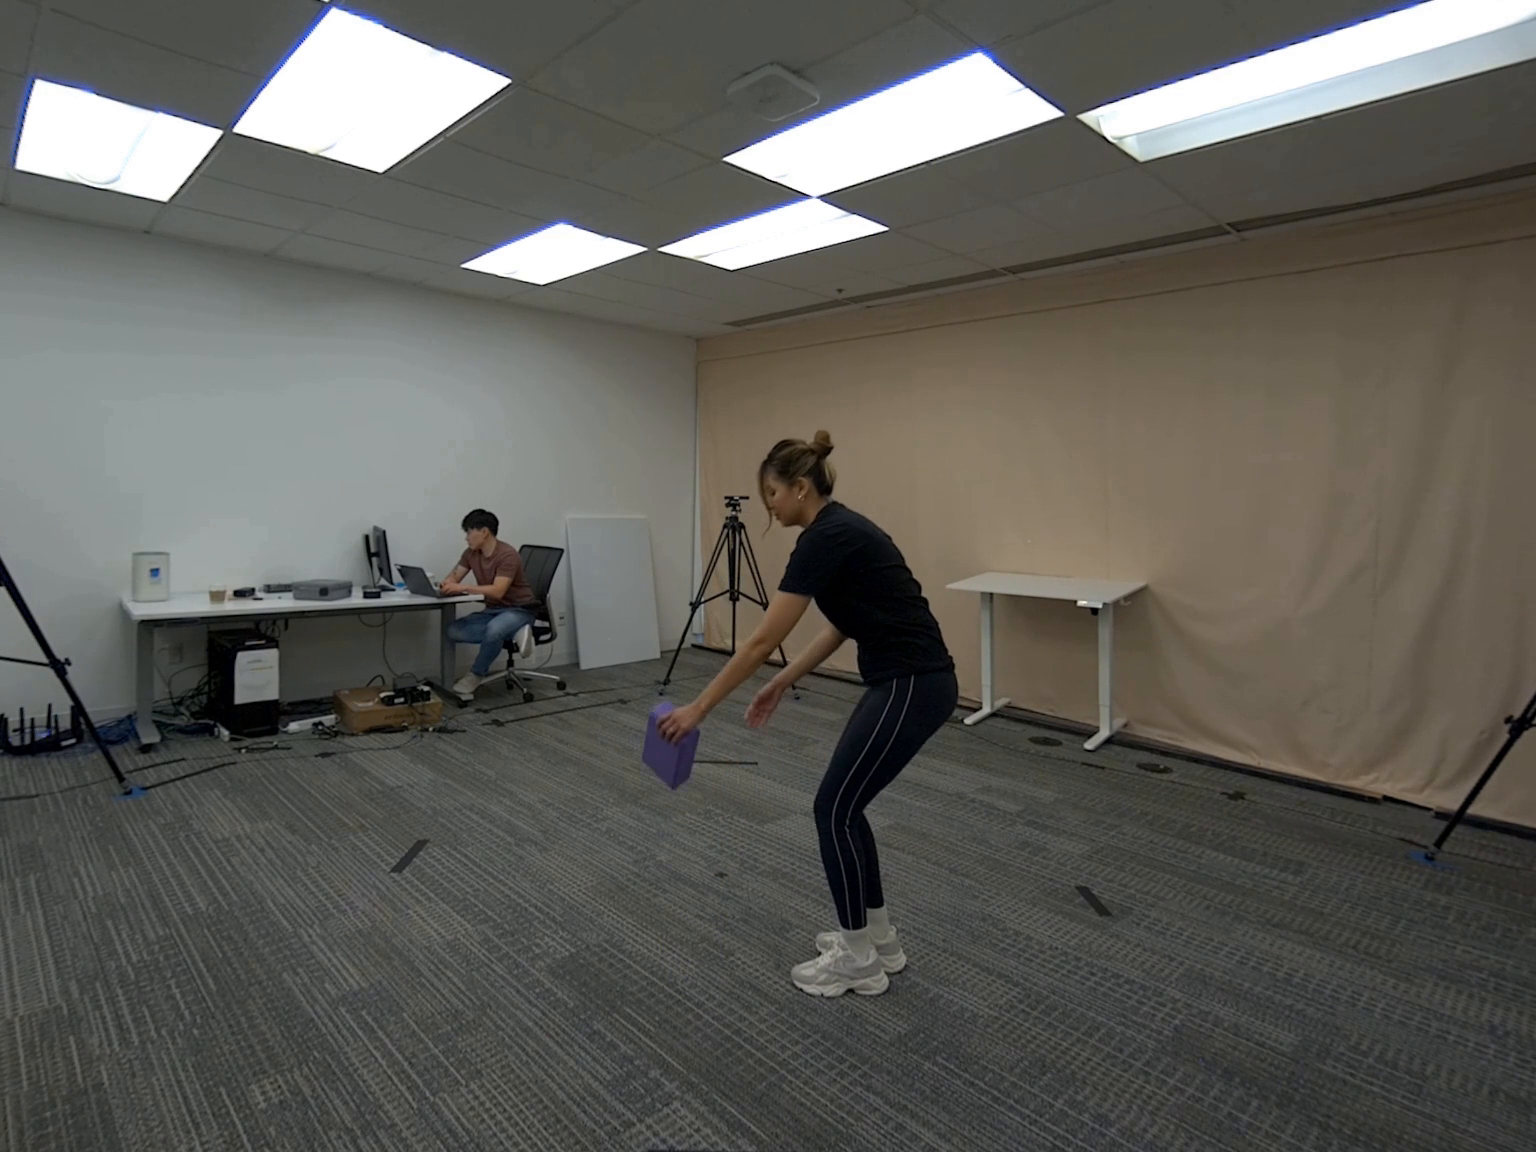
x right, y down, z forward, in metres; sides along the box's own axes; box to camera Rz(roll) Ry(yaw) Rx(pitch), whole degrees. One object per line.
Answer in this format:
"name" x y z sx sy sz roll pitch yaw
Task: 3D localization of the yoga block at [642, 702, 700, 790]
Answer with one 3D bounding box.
"yoga block" -0.284 0.490 2.459 0.153 0.225 0.075 35 43 27
